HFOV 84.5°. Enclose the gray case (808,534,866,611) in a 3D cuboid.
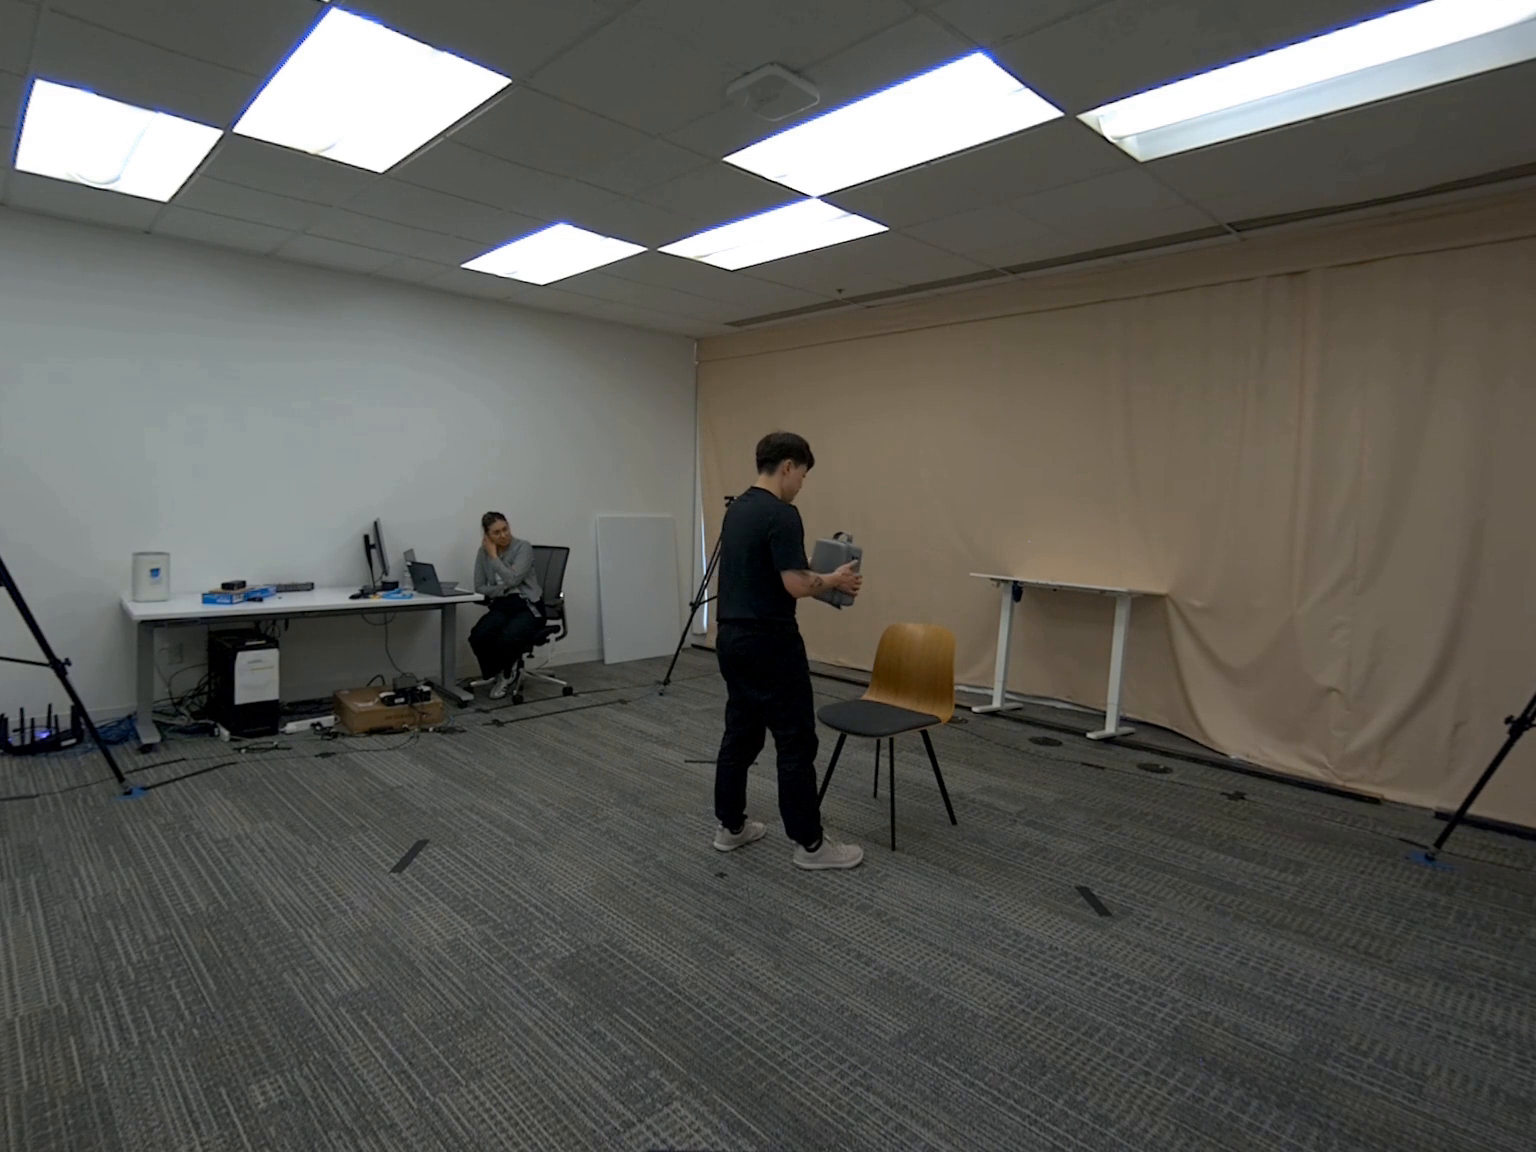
[{"bbox_3d":[0.258,-0.022,3.417,0.102,0.260,0.262,11,3,-22],"label":"gray case"}]
